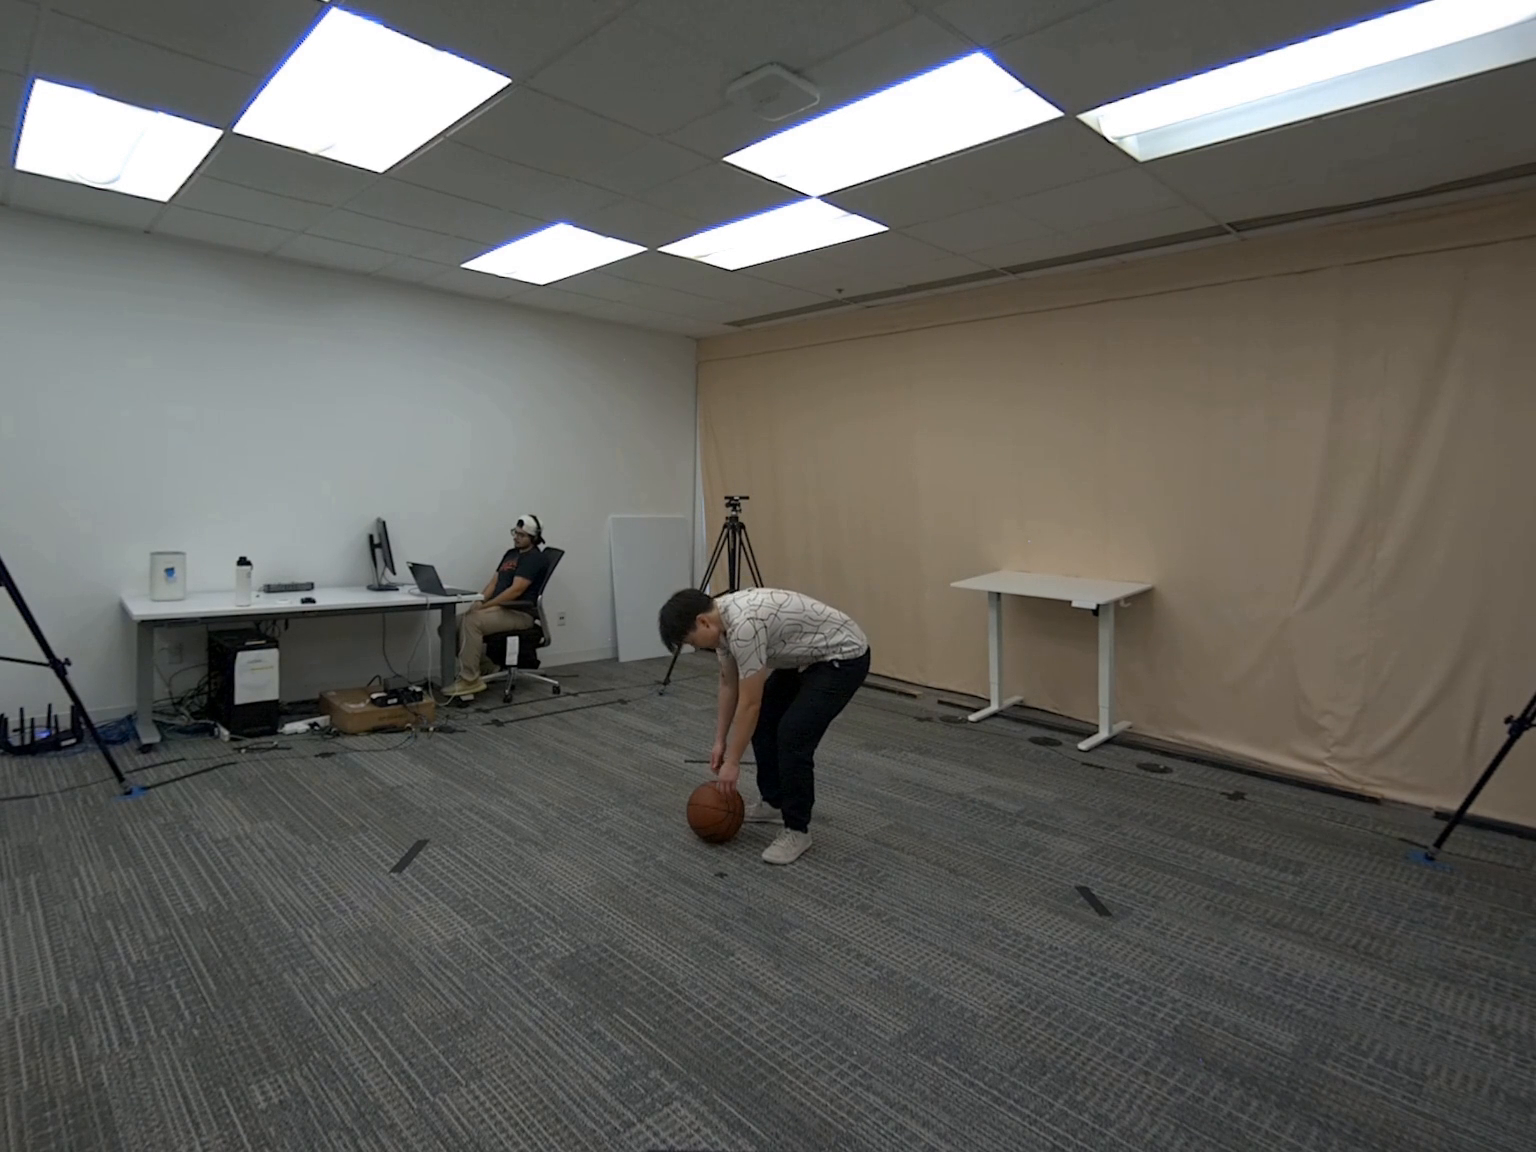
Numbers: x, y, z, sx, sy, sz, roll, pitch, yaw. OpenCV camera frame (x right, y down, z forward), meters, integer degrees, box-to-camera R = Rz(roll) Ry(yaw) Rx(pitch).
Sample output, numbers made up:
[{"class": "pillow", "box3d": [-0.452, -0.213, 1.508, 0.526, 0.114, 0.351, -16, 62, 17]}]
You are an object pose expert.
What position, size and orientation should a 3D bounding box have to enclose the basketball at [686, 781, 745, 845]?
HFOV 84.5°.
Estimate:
[{"class": "basketball", "box3d": [-0.219, 0.949, 3.420, 0.236, 0.235, 0.237, 1, 4, -1]}]
